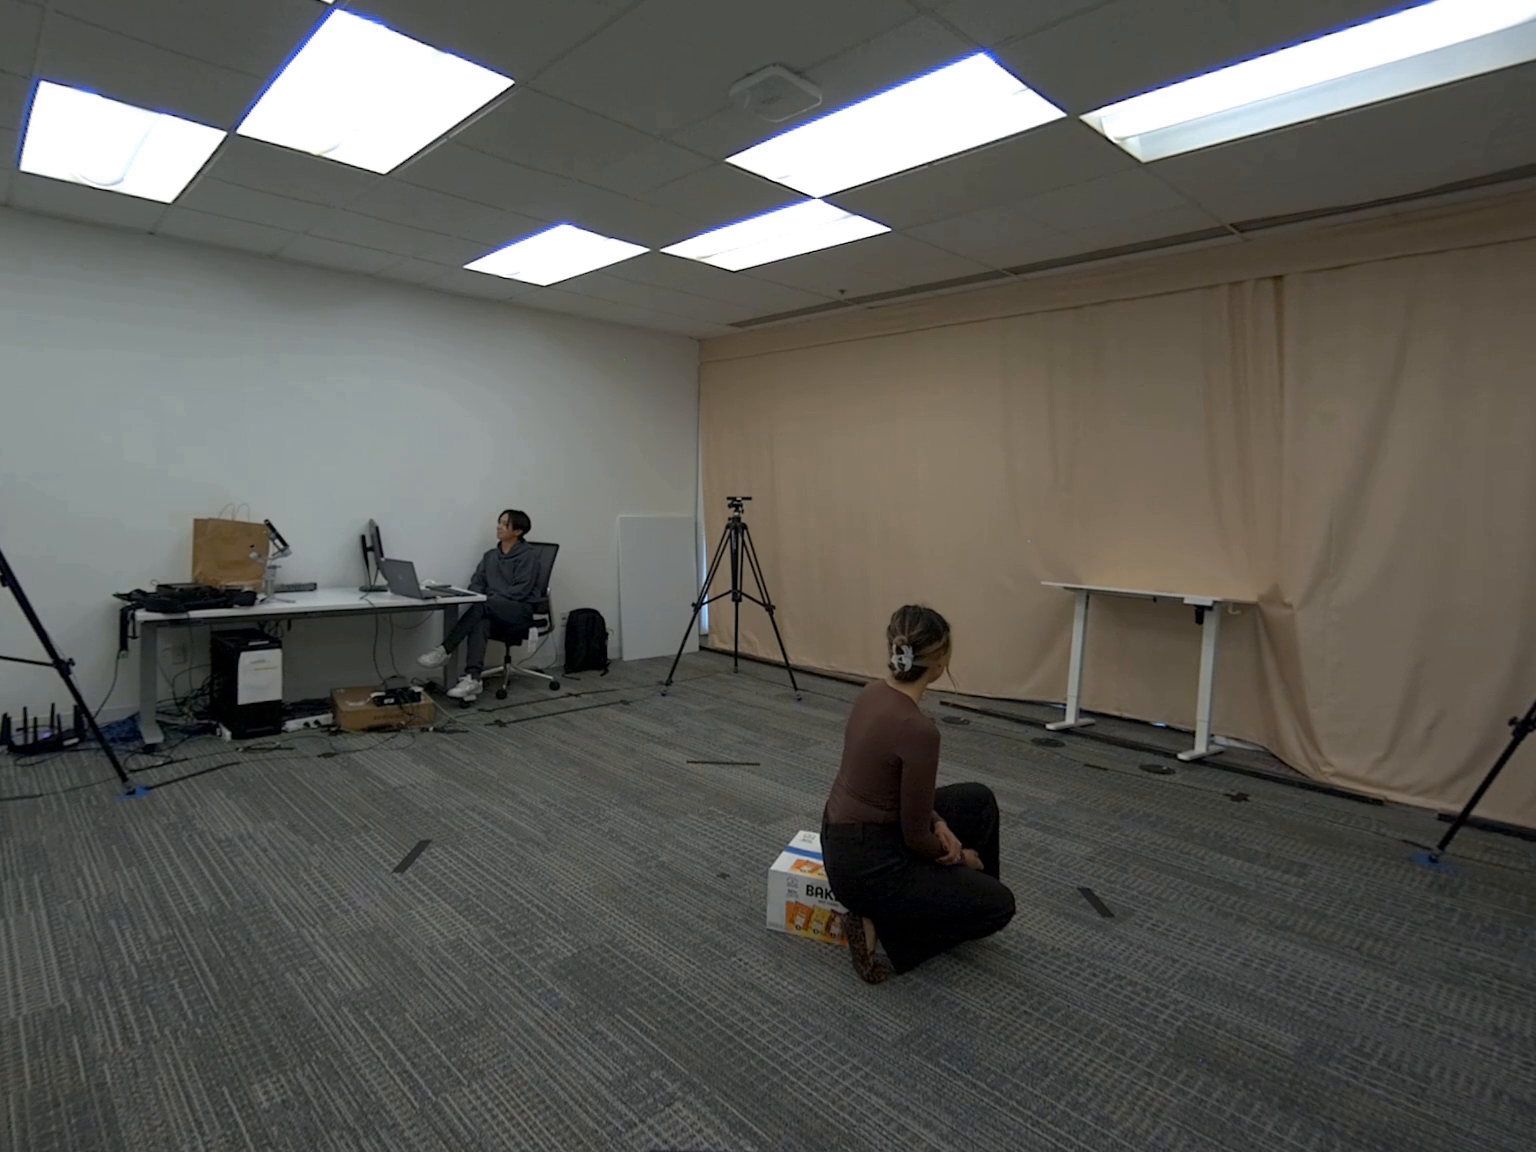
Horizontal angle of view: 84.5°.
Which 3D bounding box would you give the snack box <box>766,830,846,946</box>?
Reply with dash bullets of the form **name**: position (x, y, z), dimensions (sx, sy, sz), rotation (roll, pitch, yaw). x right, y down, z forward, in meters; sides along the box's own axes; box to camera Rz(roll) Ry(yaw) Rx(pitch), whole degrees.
- **snack box**: position (0.242, 1.044, 2.800), dimensions (0.412, 0.205, 0.336), rotation (4, 6, 20)
